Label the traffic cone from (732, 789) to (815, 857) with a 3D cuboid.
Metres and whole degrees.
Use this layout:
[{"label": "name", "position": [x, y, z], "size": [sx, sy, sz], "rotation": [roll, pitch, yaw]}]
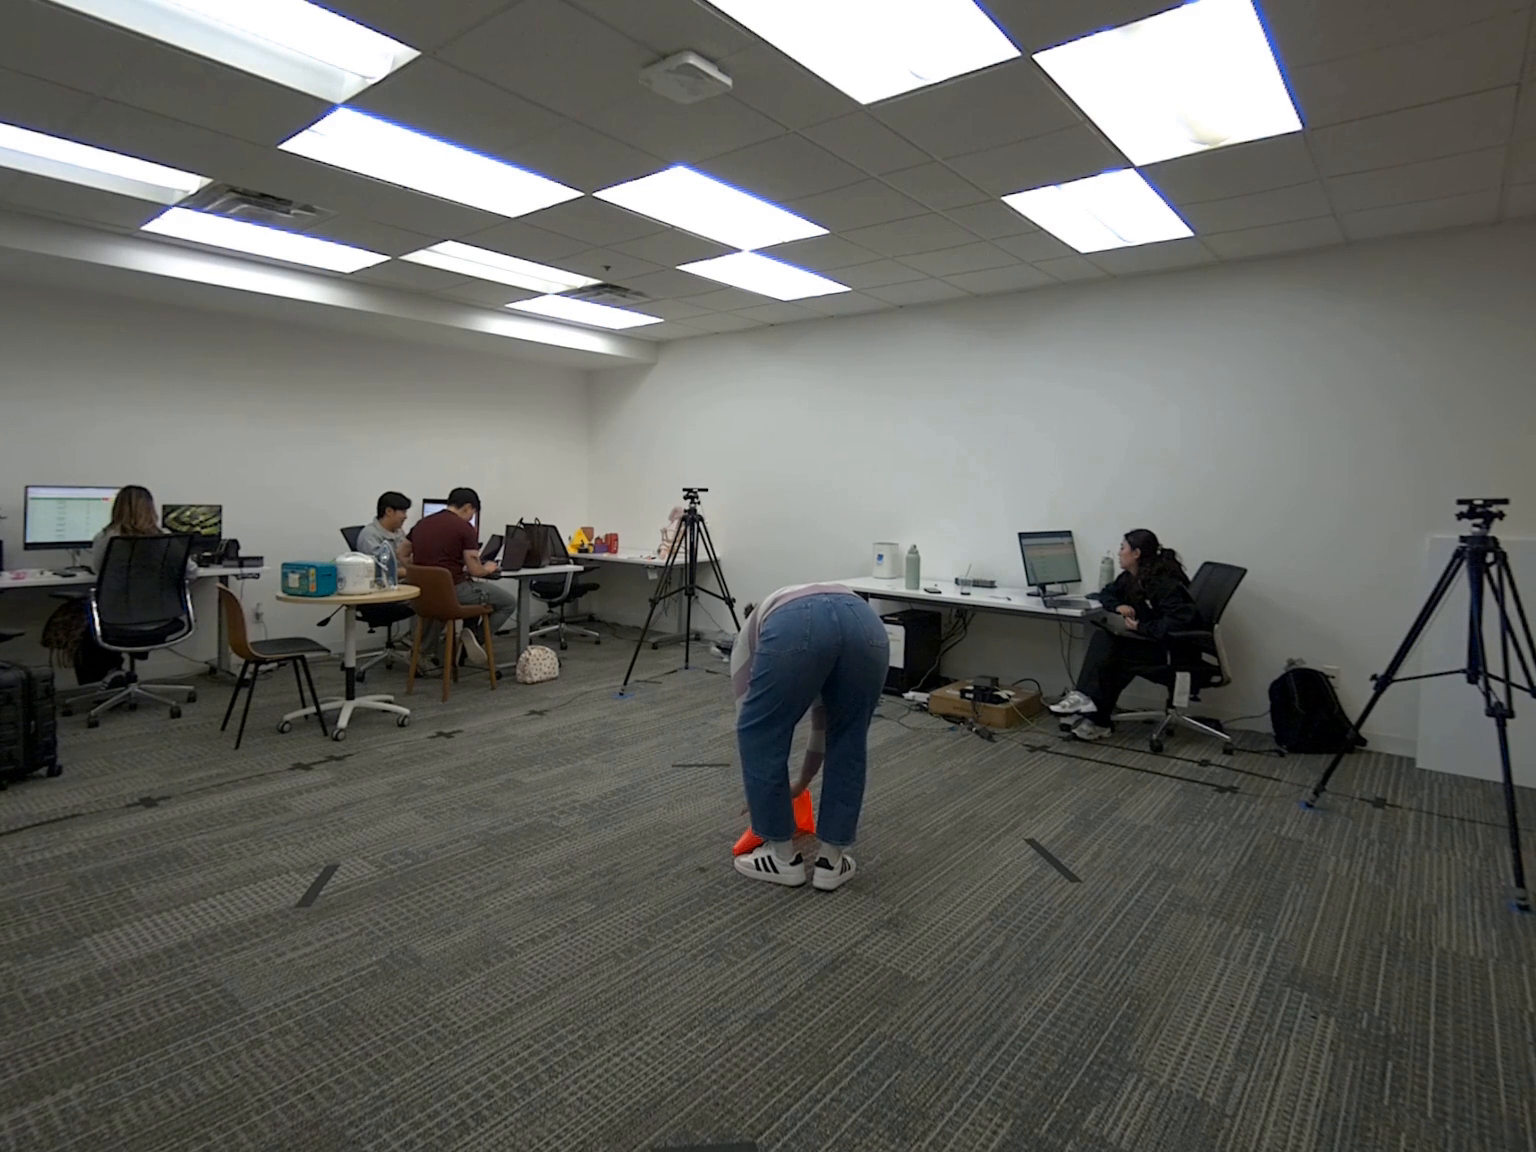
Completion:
[{"label": "traffic cone", "position": [-0.017, 0.995, 3.372], "size": [0.212, 0.200, 0.377], "rotation": [5, 21, 39]}]
